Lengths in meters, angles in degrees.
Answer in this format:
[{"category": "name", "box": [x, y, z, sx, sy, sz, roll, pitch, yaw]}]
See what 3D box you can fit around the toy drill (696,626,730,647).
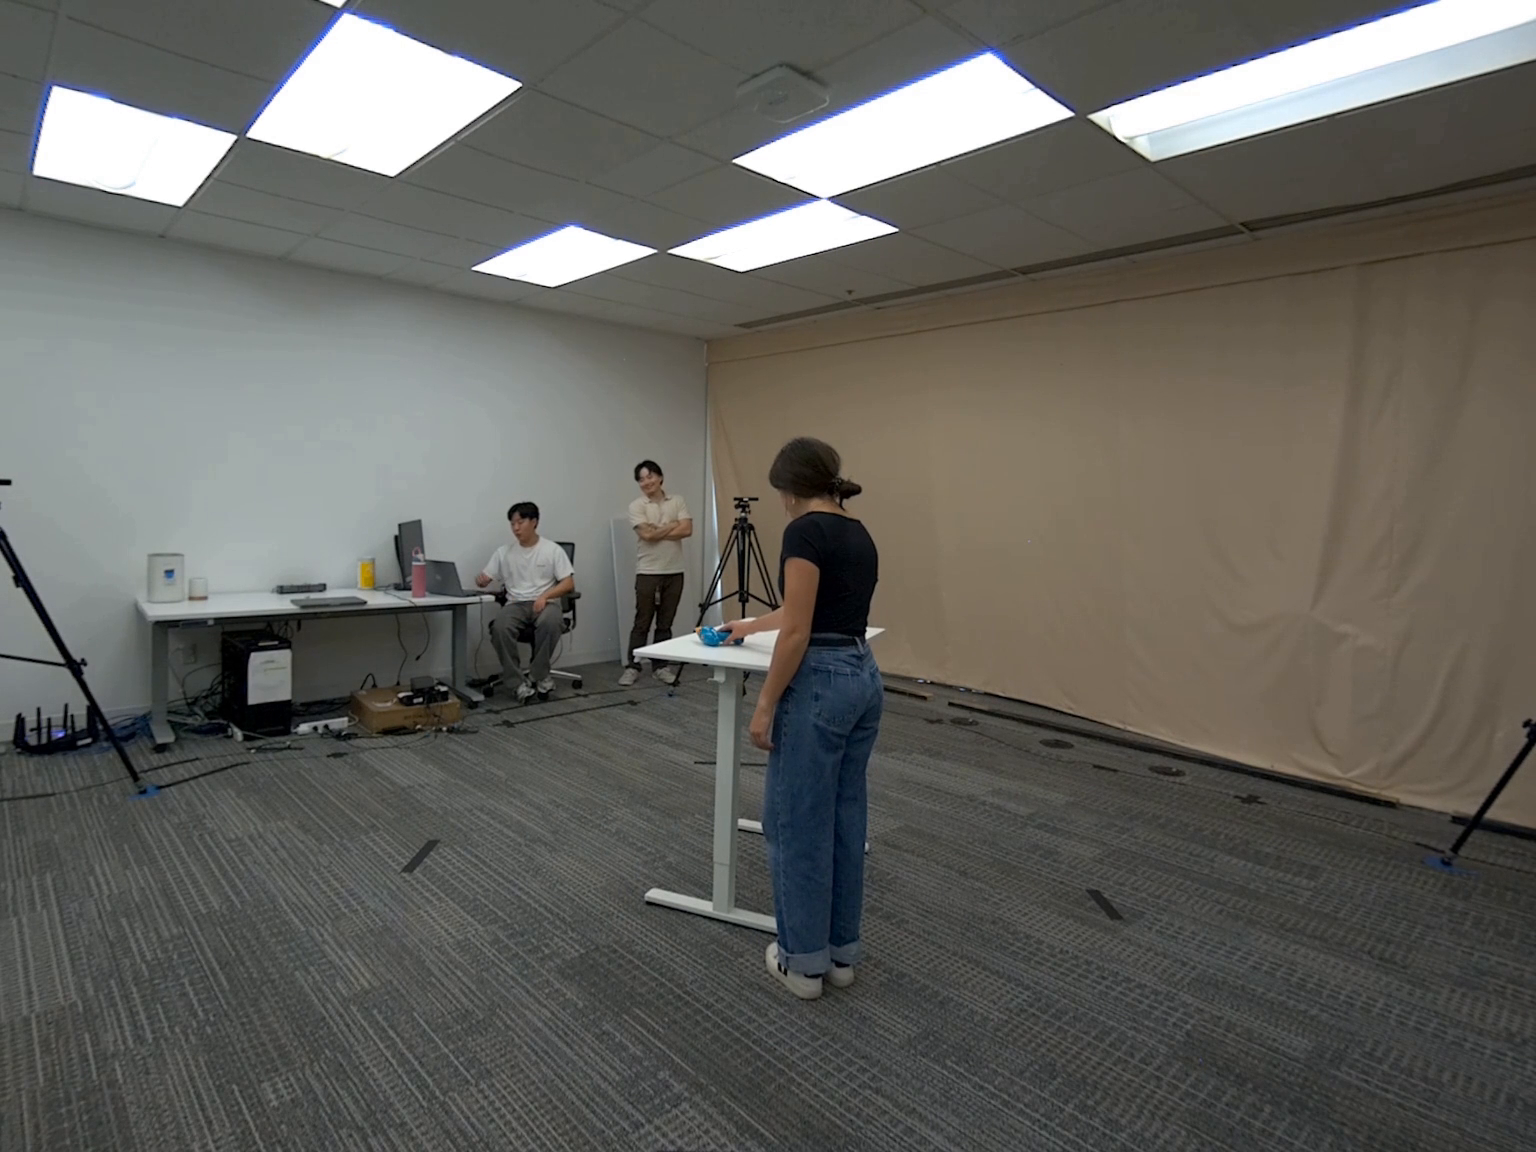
[{"category": "toy drill", "box": [-0.184, 0.211, 2.957, 0.143, 0.061, 0.174, -2, 8, -27]}]
